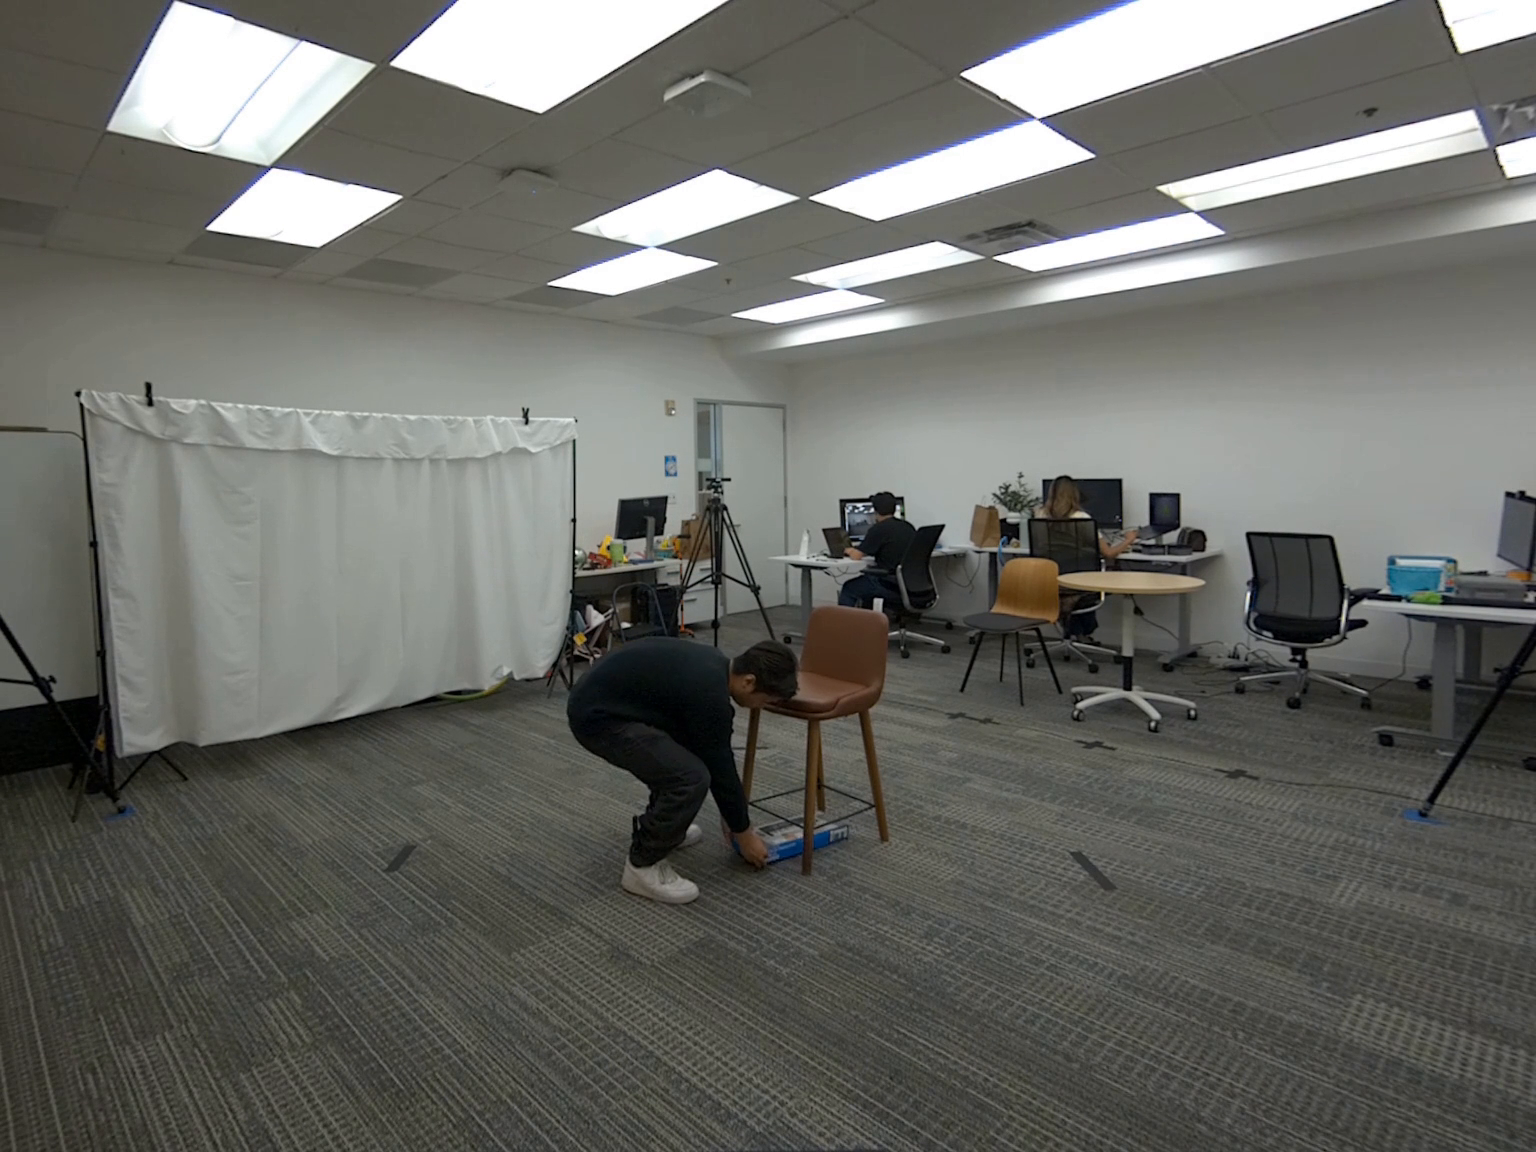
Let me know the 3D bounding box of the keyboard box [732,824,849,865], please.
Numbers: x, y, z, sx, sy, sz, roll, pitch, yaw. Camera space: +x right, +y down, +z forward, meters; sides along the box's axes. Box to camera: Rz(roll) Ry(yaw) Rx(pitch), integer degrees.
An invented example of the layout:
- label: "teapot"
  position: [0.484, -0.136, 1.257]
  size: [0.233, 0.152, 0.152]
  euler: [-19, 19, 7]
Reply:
- label: "keyboard box"
  position: [0.092, 0.985, 3.236]
  size: [0.425, 0.059, 0.181]
  euler: [-3, 7, -37]
